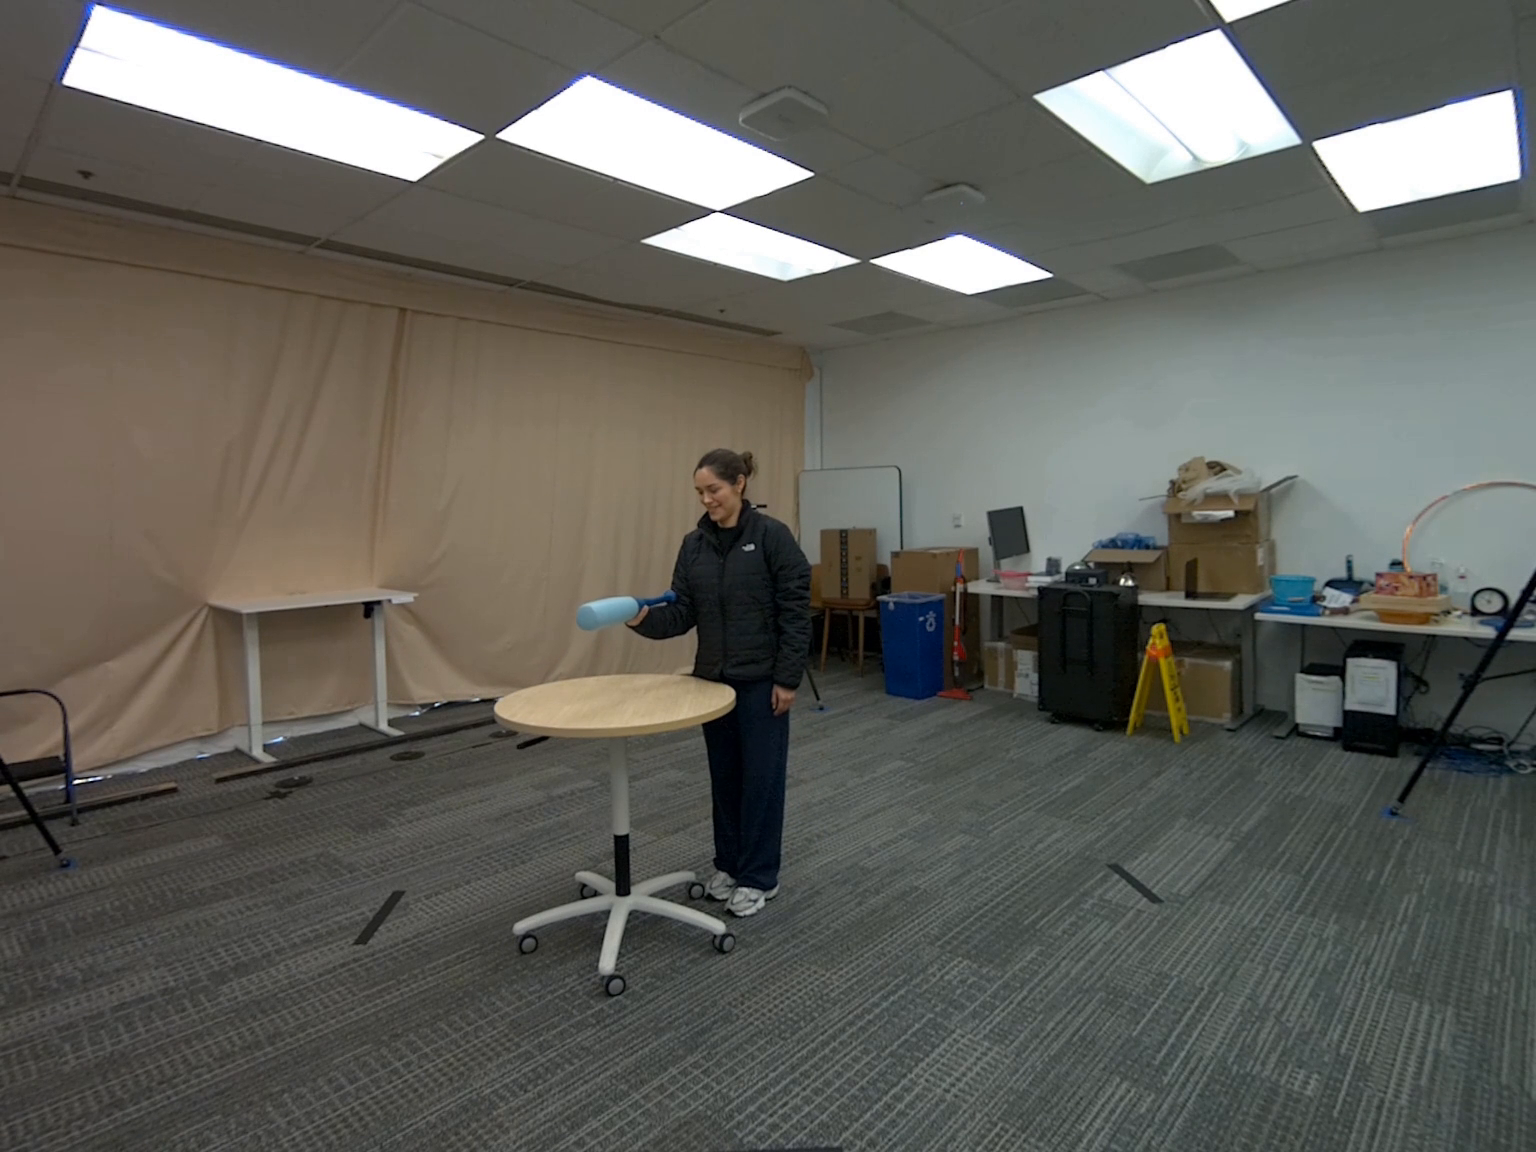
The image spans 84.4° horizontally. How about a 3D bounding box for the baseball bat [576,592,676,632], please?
[{"bbox_3d":[-0.426,0.100,2.752,0.091,0.089,0.532,1,5,21],"label":"baseball bat"}]
